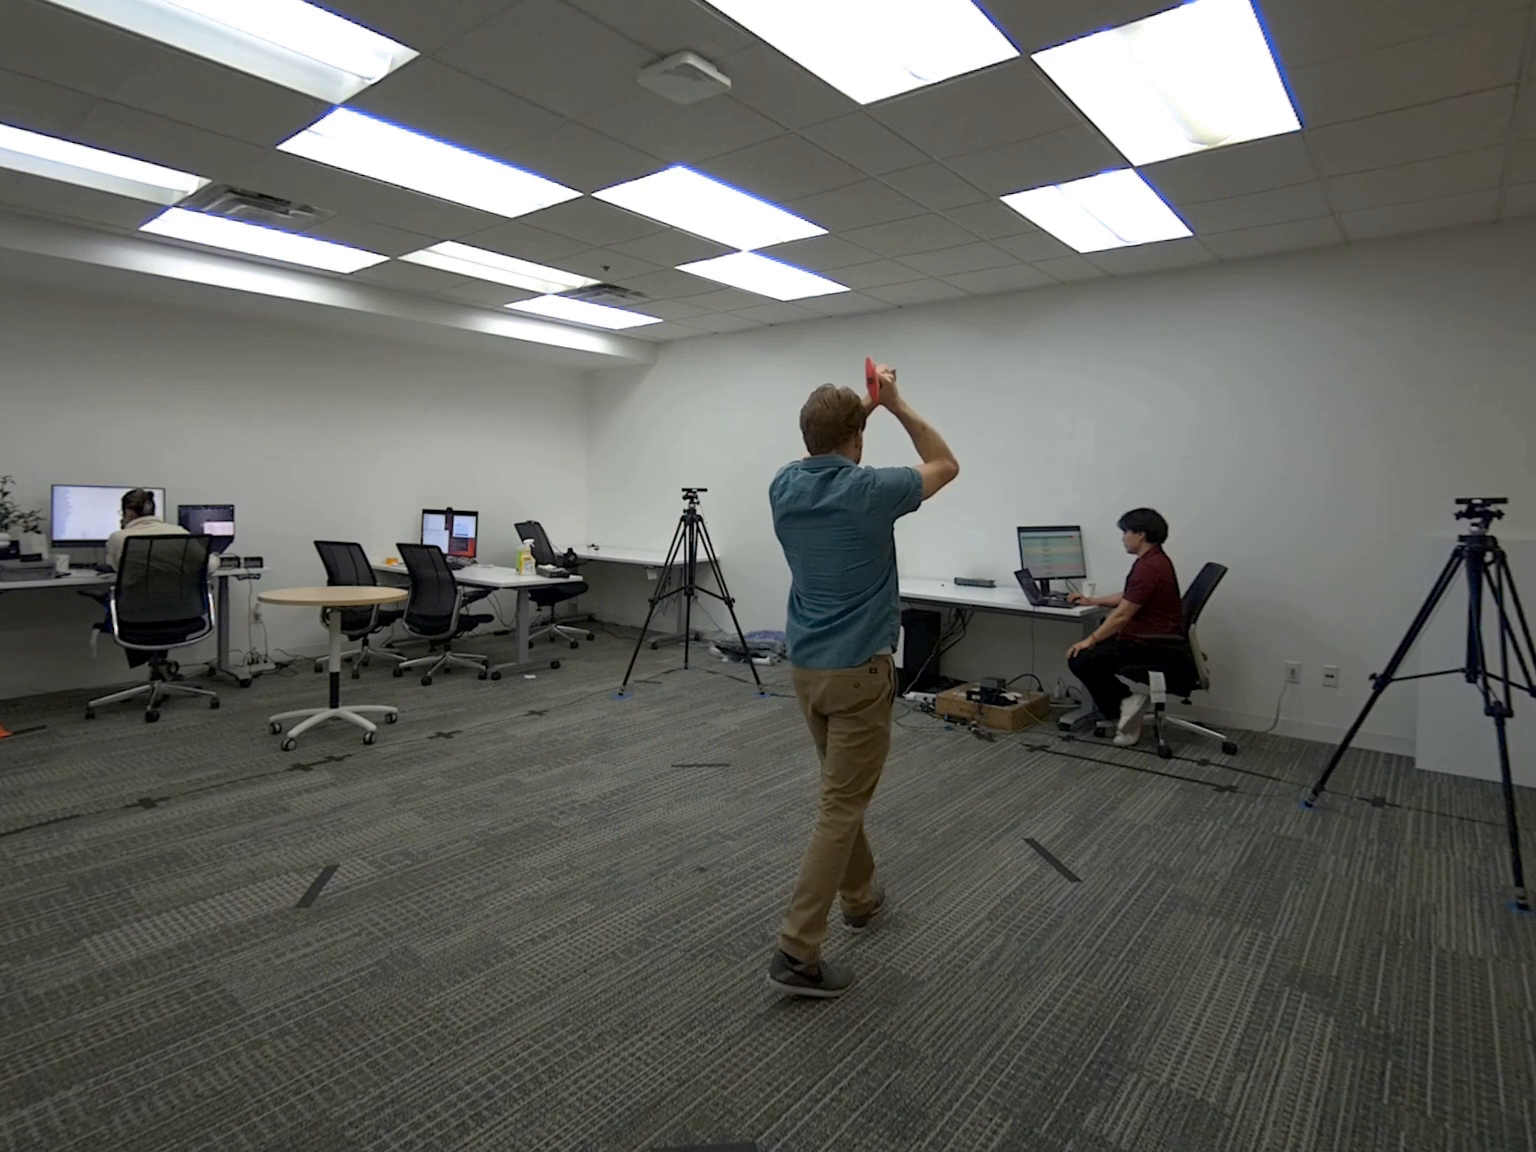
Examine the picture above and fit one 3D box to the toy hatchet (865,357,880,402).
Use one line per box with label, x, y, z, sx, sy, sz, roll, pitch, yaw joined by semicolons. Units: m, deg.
toy hatchet;0.301;-0.605;2.497;0.030;0.128;0.273;-11;24;13
